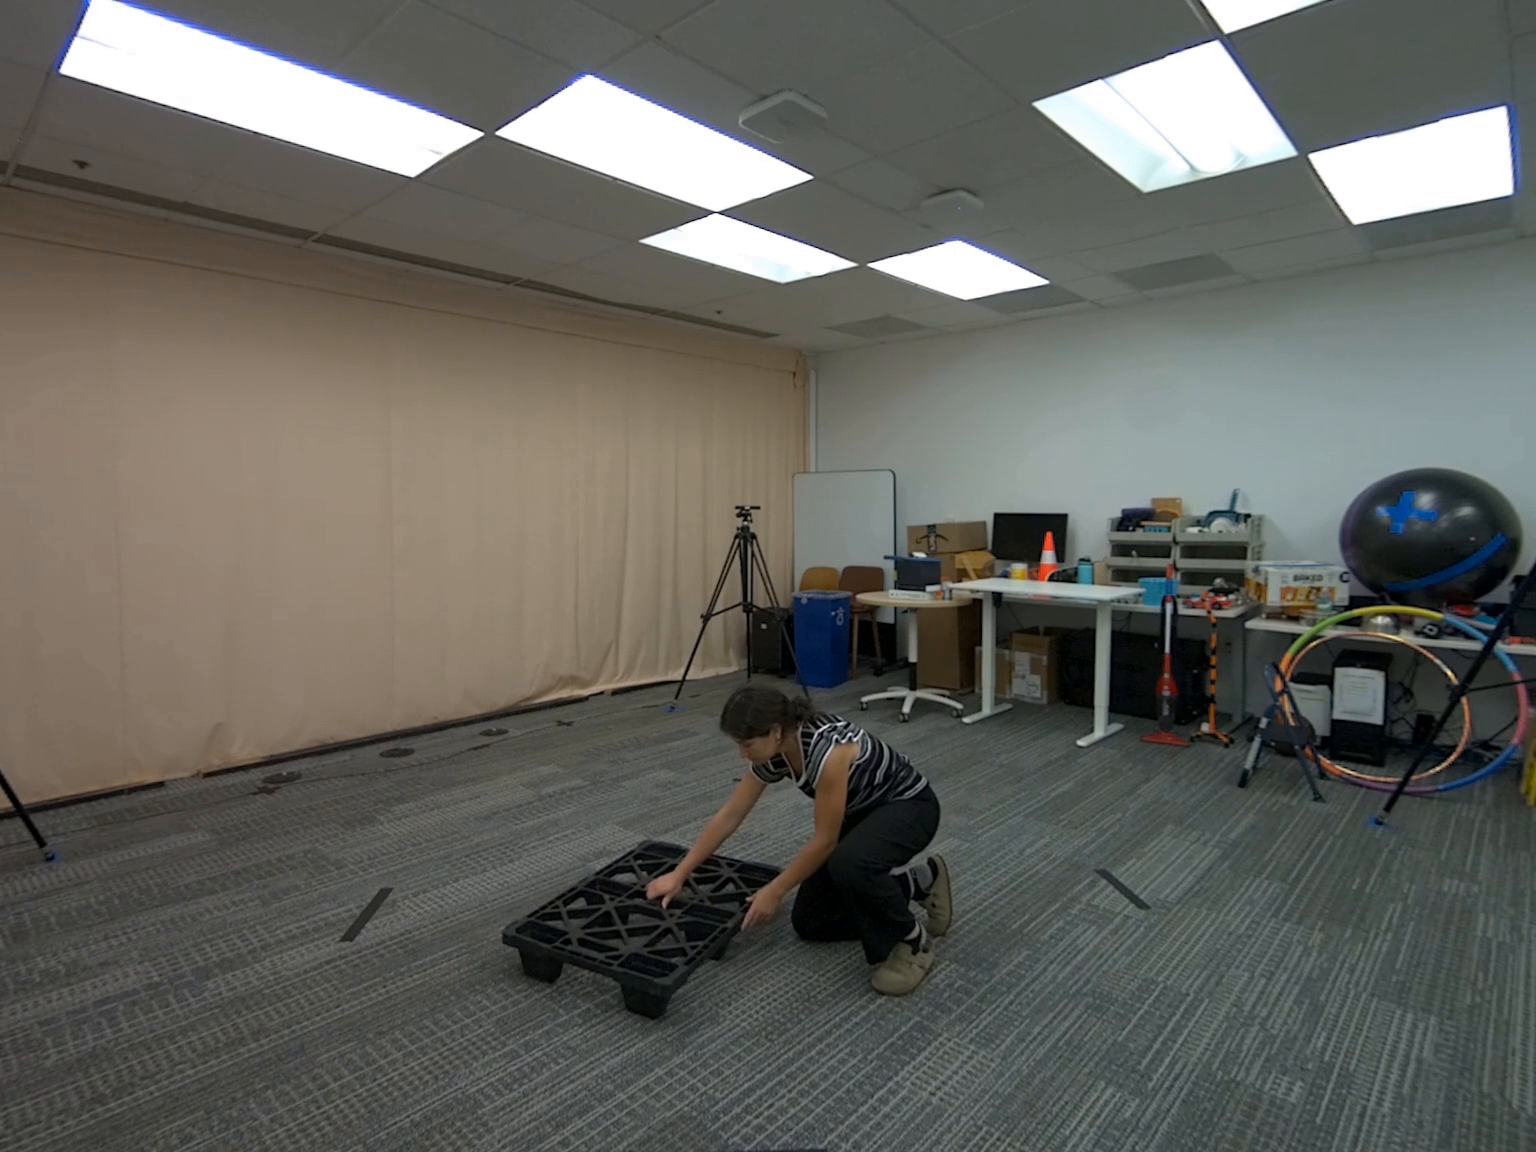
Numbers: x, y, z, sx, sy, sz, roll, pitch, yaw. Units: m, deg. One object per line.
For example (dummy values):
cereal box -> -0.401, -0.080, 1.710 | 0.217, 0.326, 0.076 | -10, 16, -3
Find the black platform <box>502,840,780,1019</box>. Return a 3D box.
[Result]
black platform -> -0.356, 1.102, 2.703 | 0.621, 0.143, 0.786 | 1, 5, 27
